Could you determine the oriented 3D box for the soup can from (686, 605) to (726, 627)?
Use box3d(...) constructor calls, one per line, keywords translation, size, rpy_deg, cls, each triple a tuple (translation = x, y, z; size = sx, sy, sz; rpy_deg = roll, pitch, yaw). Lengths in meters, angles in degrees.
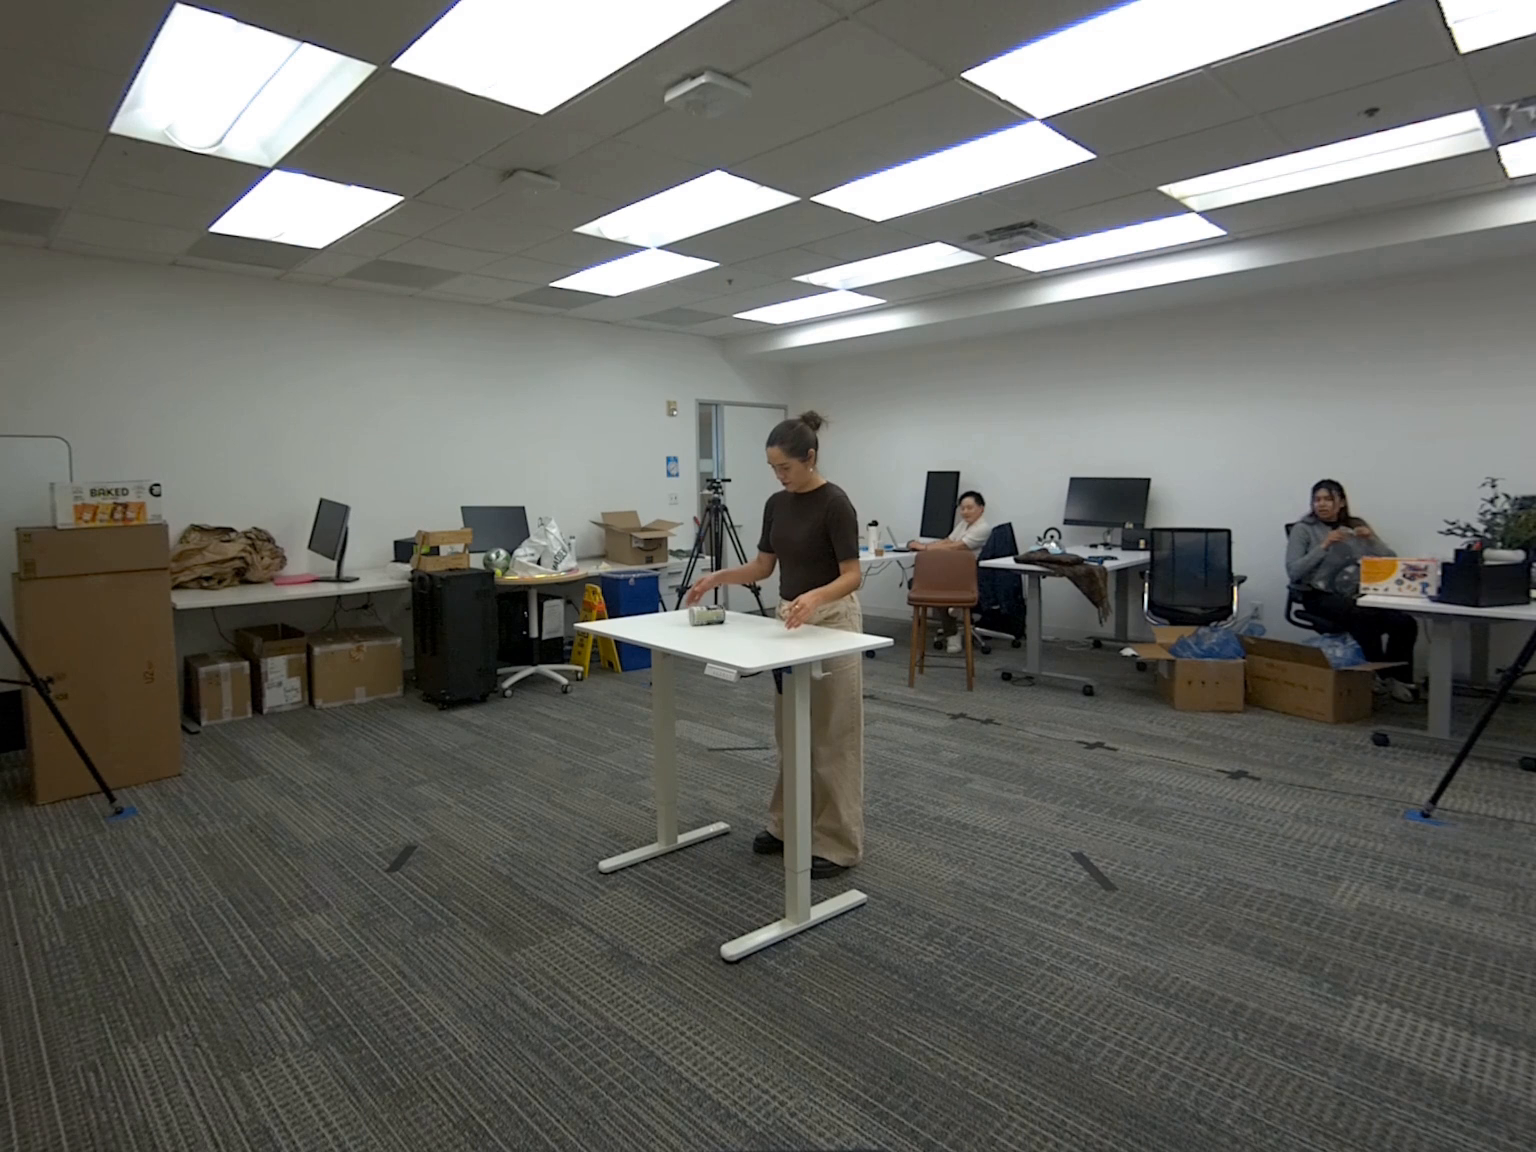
box3d(translation=(-0.215, 0.139, 3.054), size=(0.120, 0.067, 0.068), rpy_deg=(-3, 5, -12), cls="soup can")
